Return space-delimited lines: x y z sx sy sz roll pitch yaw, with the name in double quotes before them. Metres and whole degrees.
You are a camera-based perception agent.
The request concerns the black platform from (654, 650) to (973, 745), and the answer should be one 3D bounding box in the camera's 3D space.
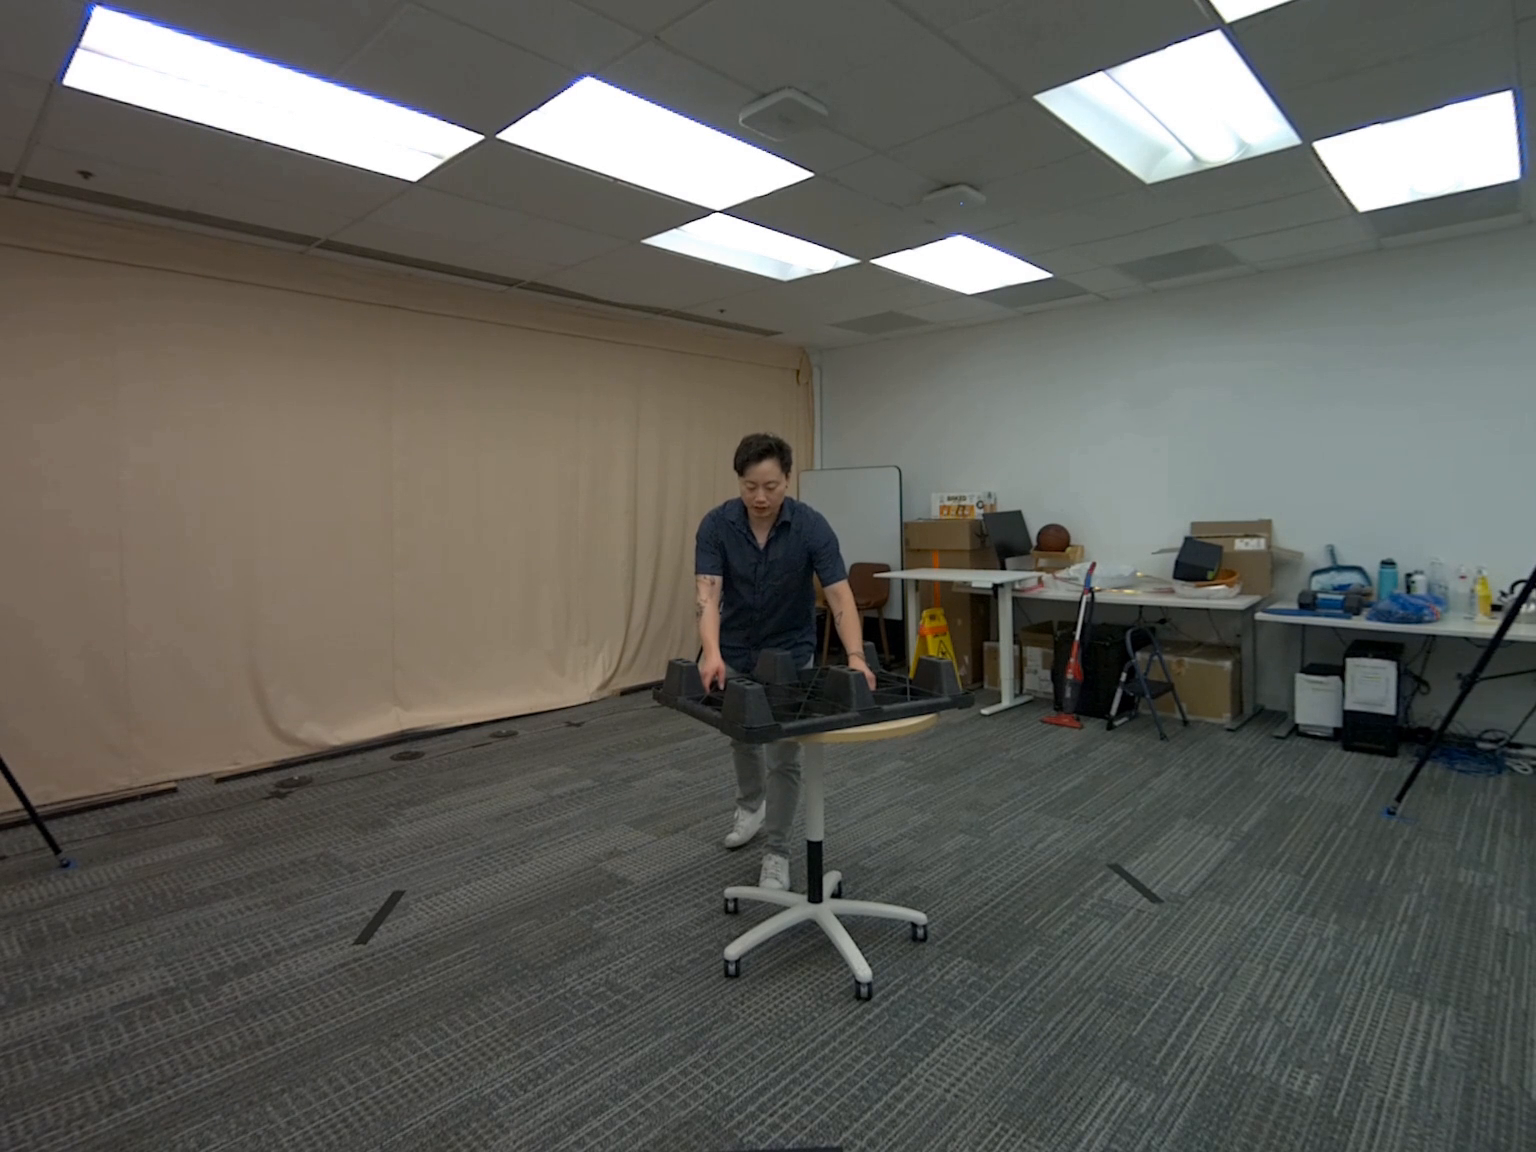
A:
"black platform" 0.132 0.325 2.570 0.784 0.143 0.623 -4 5 -31
